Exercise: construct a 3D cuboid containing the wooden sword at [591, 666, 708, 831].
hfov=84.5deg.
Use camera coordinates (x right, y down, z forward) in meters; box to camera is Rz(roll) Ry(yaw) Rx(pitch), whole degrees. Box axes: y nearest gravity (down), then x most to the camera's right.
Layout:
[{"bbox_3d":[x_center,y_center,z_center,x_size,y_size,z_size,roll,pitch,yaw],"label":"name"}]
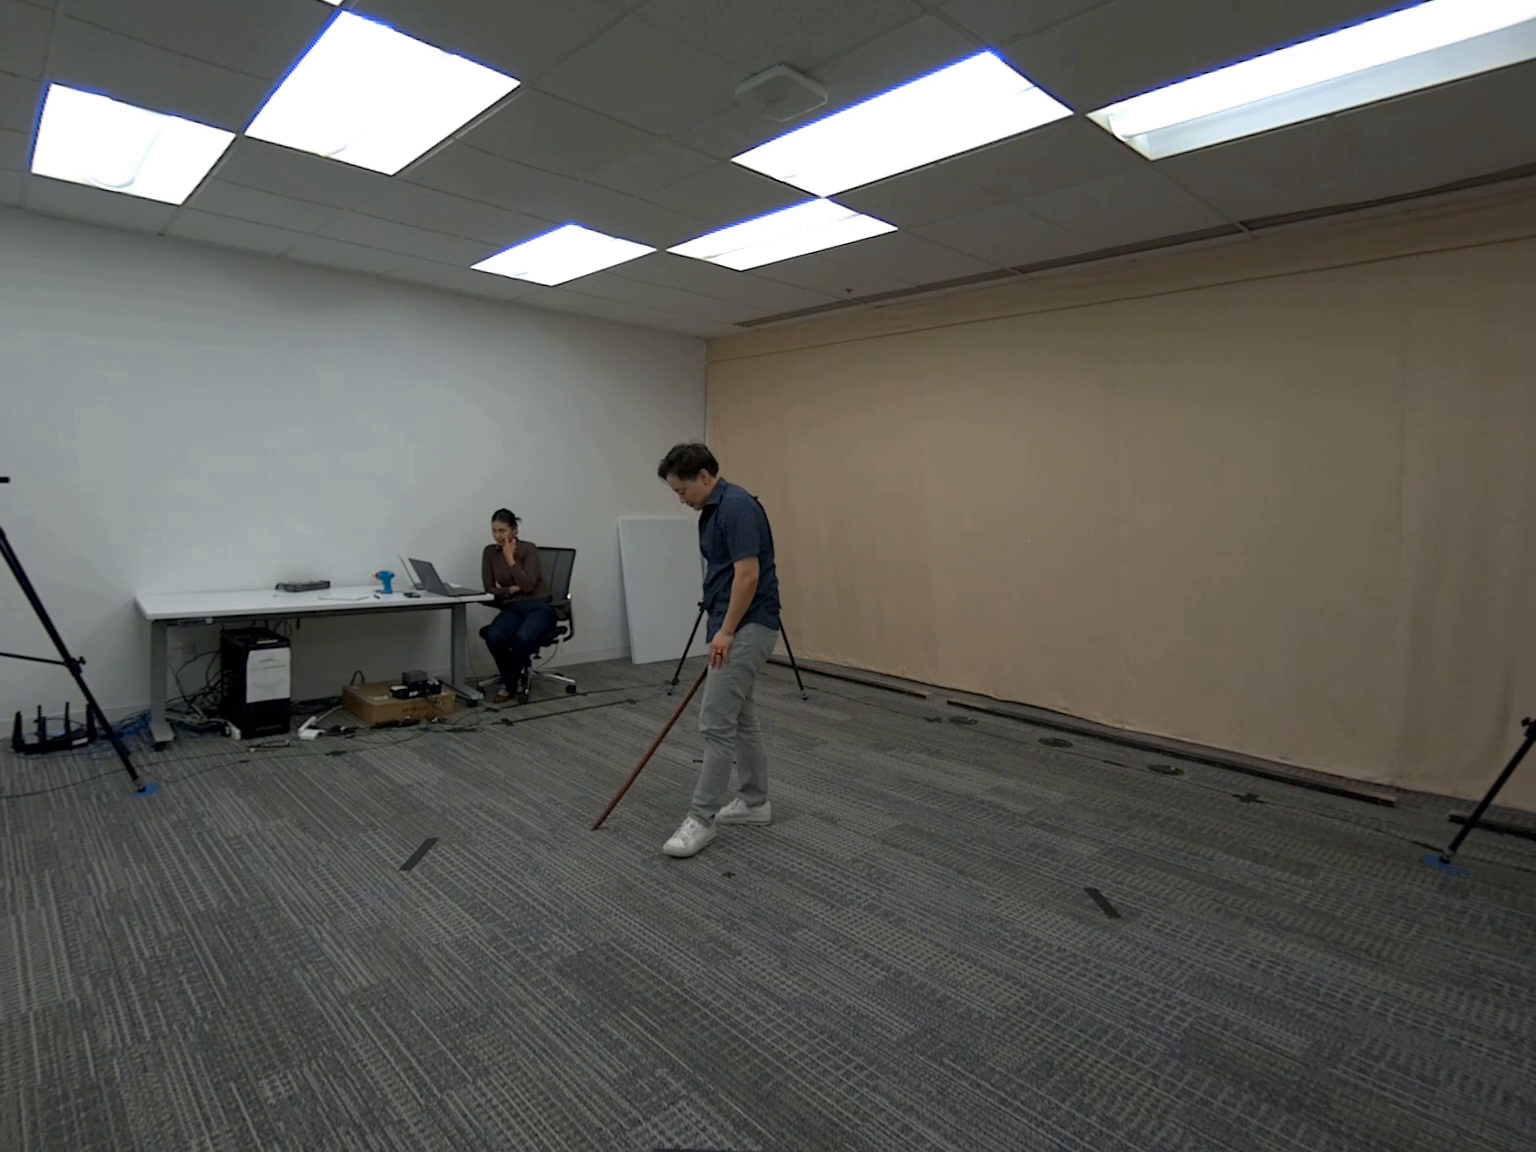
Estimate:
[{"bbox_3d":[-0.453,0.664,3.664,0.025,1.027,0.050,14,-29,44],"label":"wooden sword"}]
